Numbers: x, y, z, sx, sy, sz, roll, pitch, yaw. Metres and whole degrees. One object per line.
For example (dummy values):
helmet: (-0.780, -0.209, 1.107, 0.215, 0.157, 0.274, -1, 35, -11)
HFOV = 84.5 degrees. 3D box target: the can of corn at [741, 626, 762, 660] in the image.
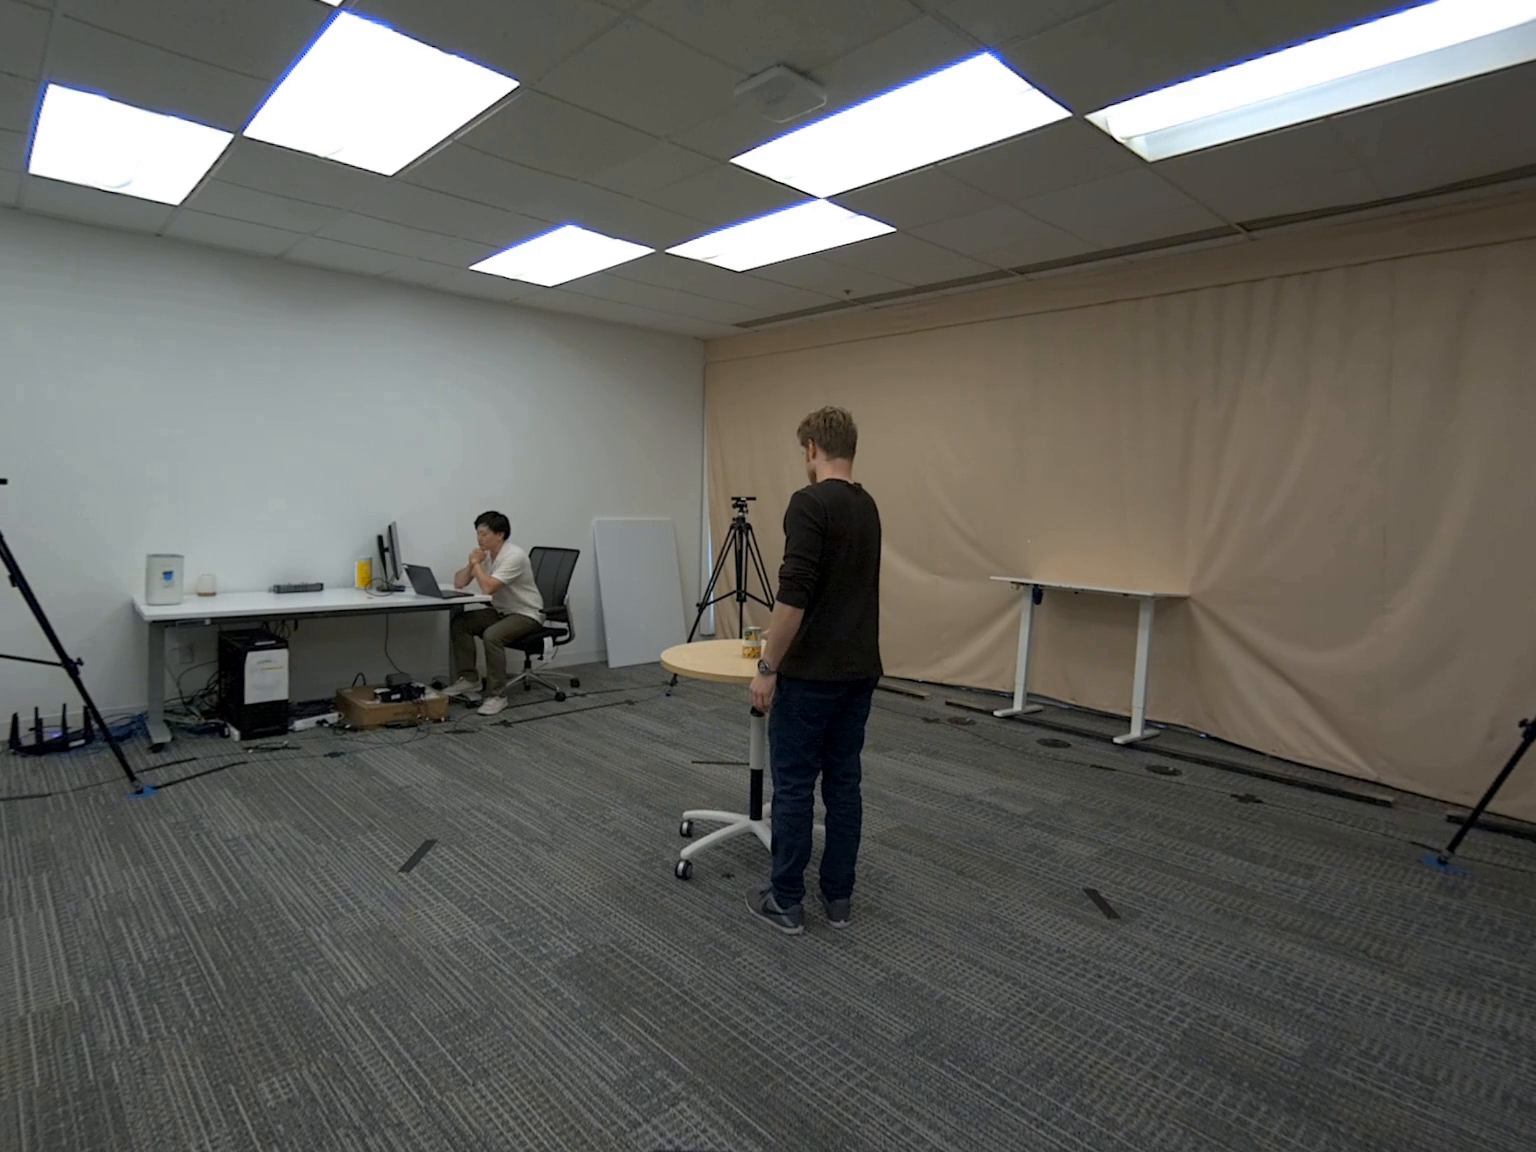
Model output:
can of corn: (-0.067, 0.260, 3.244, 0.074, 0.111, 0.074, 3, 4, -2)
